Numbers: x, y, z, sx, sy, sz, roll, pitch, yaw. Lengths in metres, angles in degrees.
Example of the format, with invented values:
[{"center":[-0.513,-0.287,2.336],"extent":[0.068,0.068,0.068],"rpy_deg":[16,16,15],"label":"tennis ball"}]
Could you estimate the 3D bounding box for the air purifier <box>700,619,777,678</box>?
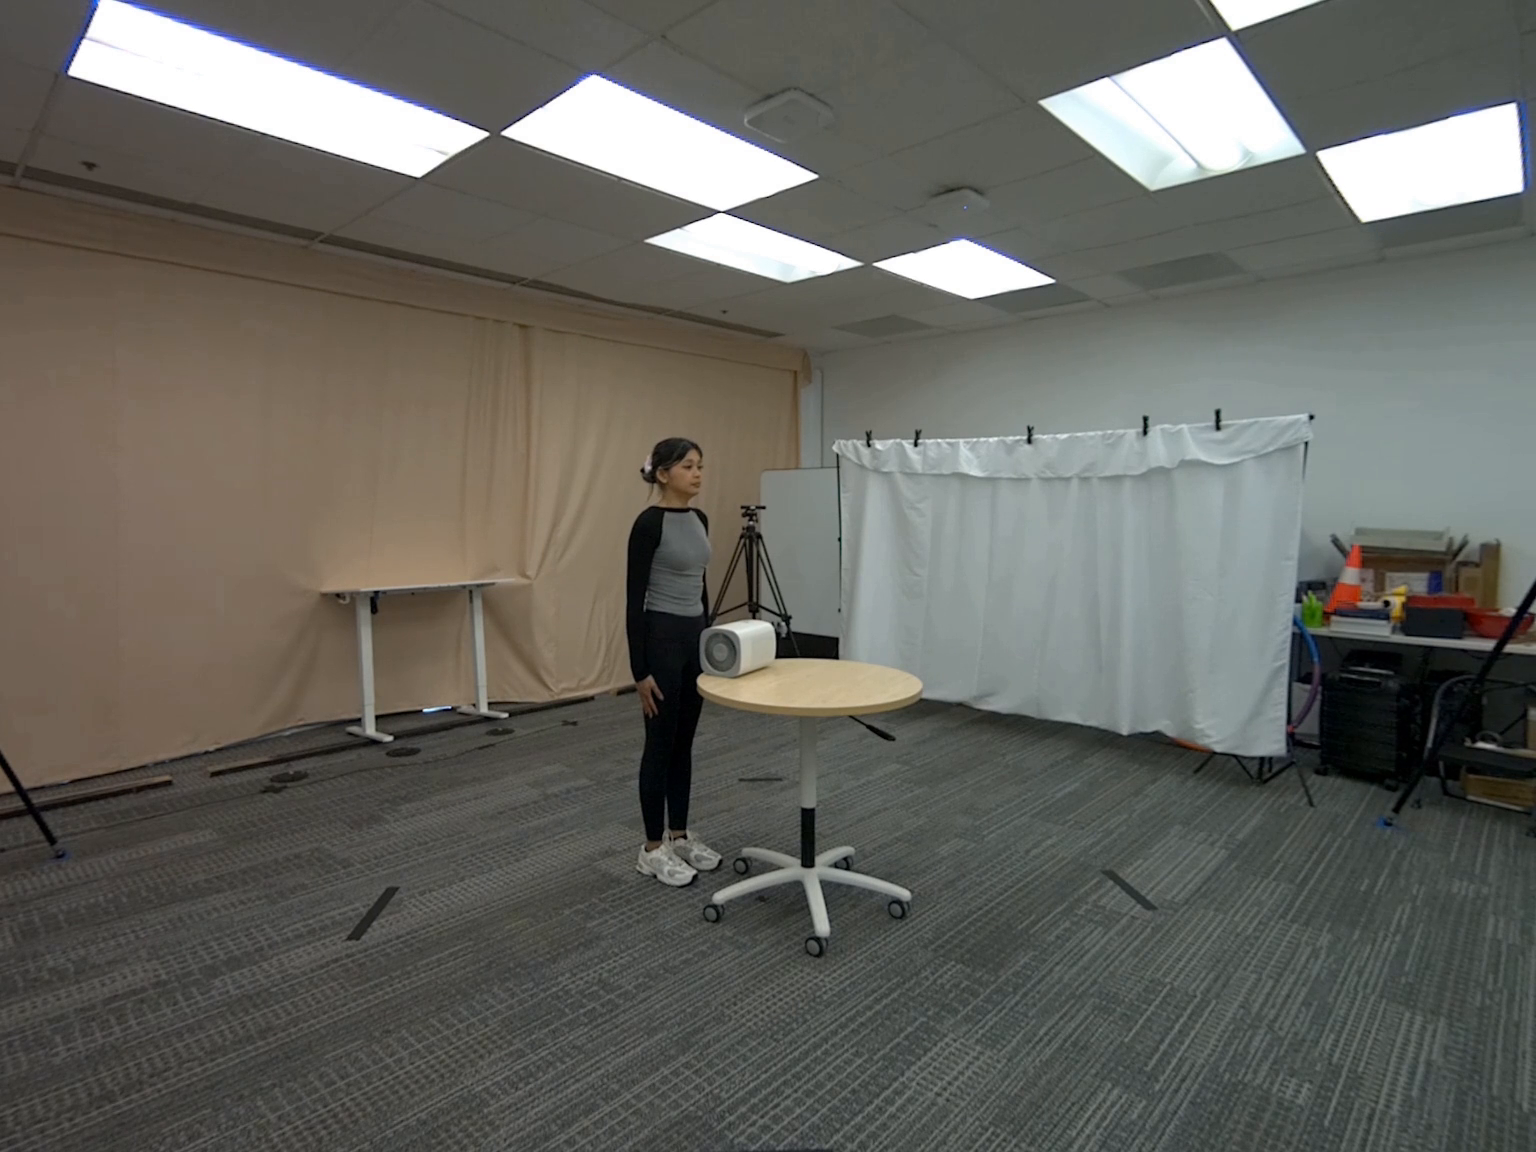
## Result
[{"center":[-0.097,0.256,3.043],"extent":[0.176,0.171,0.258],"rpy_deg":[1,4,31],"label":"air purifier"}]
